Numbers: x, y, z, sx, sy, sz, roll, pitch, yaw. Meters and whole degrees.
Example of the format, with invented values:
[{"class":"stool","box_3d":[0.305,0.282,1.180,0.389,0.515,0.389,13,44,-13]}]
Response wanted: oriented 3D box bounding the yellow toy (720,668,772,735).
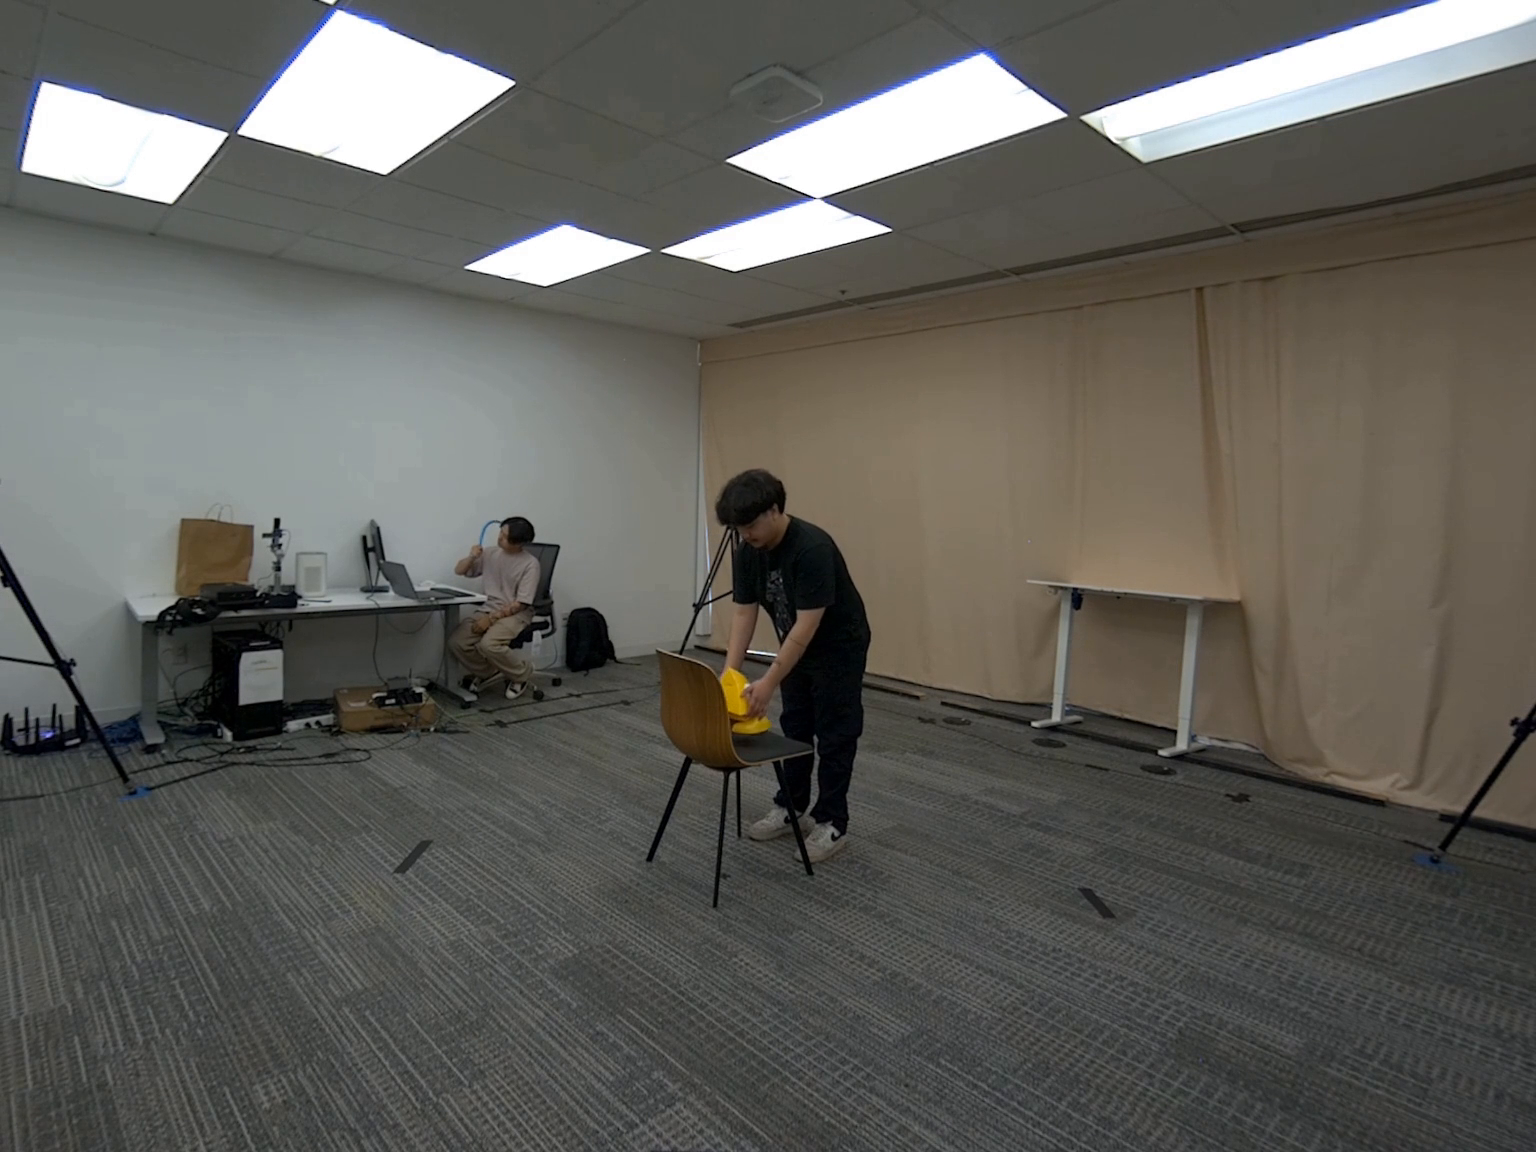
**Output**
[{"class":"yellow toy","box_3d":[-0.101,0.444,3.148,0.189,0.230,0.210,-3,5,-39]}]
